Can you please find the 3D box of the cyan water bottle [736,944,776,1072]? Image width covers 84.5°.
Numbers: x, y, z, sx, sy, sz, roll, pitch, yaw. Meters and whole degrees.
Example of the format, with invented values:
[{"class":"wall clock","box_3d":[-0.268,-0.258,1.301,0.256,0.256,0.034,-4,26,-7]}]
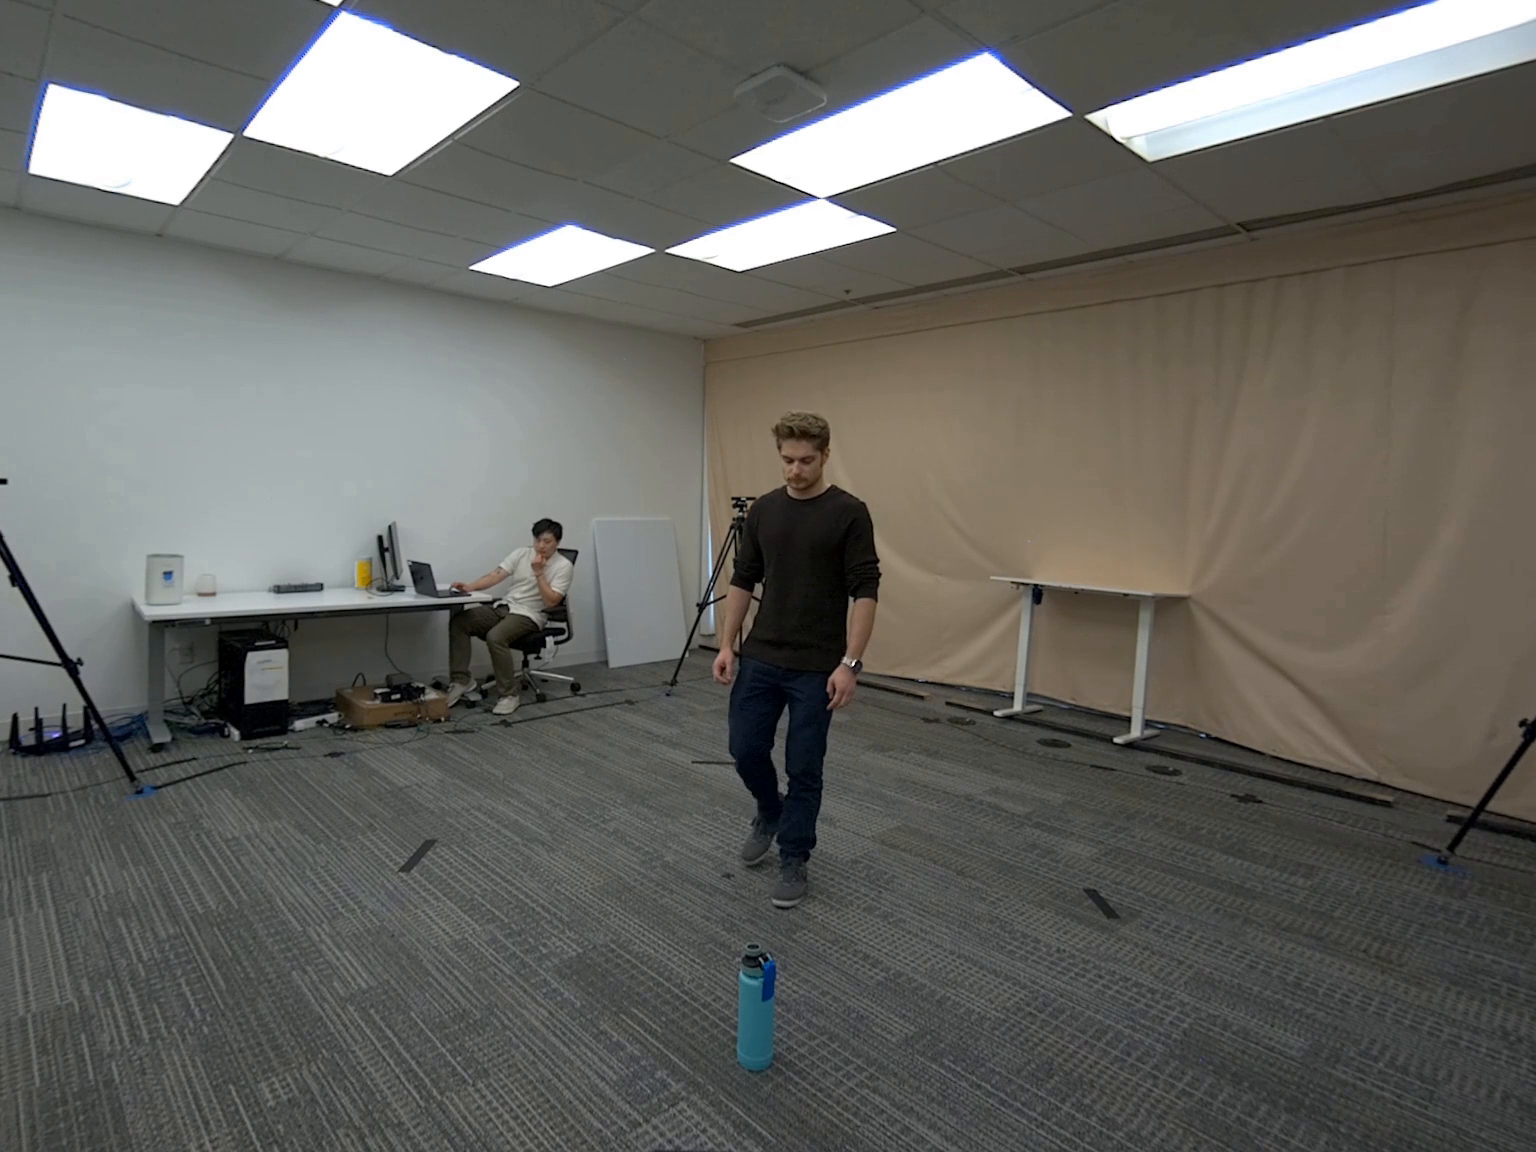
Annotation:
[{"class":"cyan water bottle","box_3d":[-0.041,1.069,2.077,0.092,0.282,0.093,2,5,-2]}]
